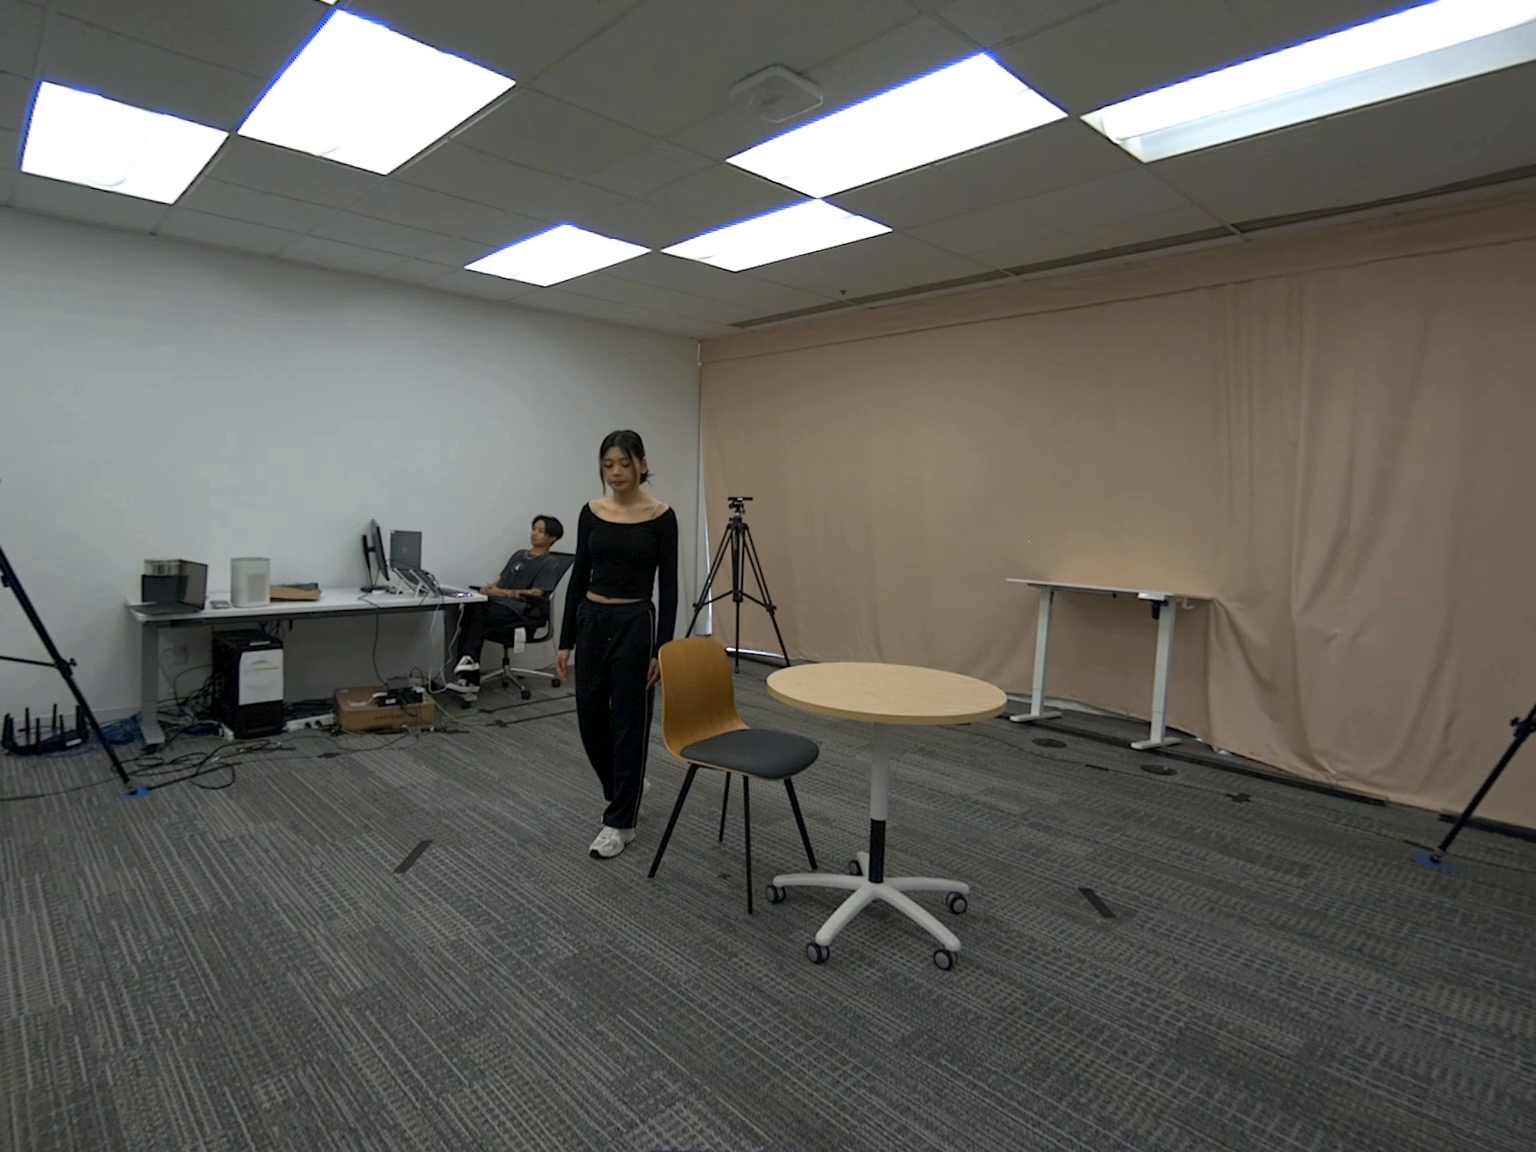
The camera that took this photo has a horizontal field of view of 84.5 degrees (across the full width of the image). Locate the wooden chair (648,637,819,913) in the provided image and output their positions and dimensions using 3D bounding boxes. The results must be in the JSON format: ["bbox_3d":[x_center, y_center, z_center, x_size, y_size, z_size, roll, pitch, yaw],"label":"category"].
[{"bbox_3d":[-0.115,0.681,3.090,0.534,0.877,0.468,-2,1,35],"label":"wooden chair"}]
